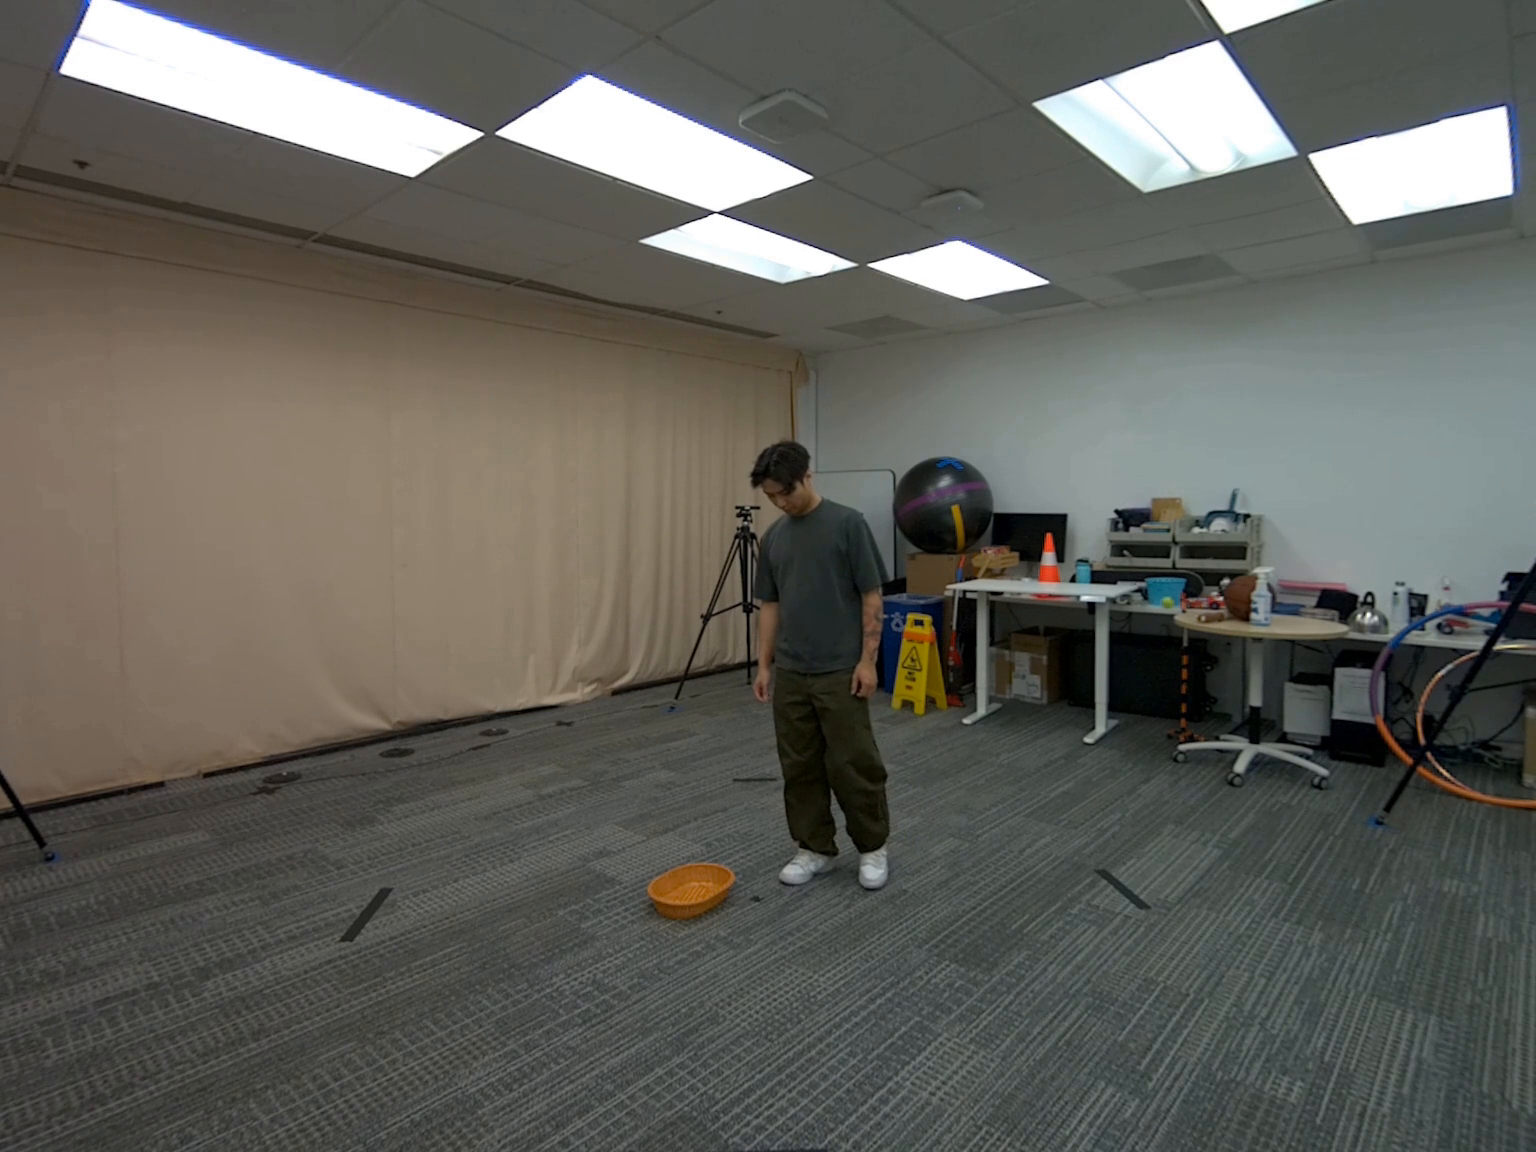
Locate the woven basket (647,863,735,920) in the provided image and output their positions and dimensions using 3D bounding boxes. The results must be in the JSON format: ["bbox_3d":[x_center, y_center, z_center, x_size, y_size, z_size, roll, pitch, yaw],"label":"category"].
[{"bbox_3d":[-0.268,1.107,2.965,0.261,0.073,0.340,4,6,38],"label":"woven basket"}]
